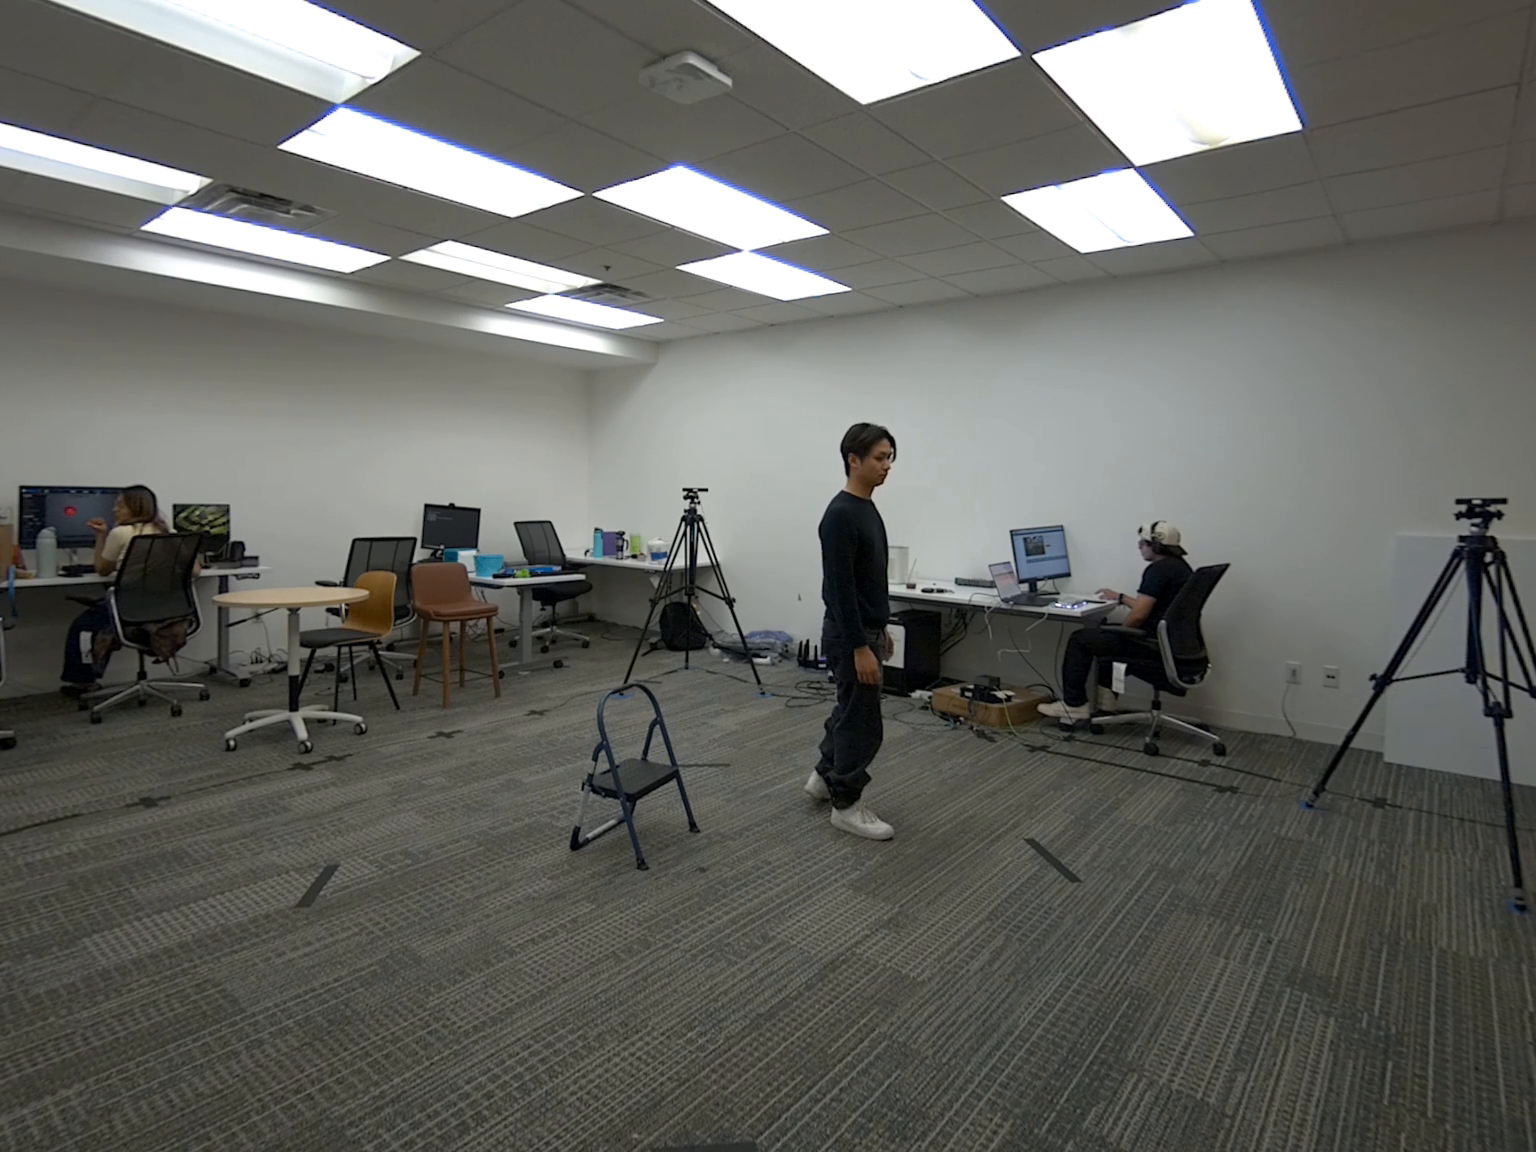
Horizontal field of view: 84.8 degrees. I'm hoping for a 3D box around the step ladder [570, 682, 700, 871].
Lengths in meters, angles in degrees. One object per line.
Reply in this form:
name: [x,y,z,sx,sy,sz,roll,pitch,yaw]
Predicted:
step ladder: [-0.524,0.740,3.342,0.358,0.604,0.421,3,4,25]
